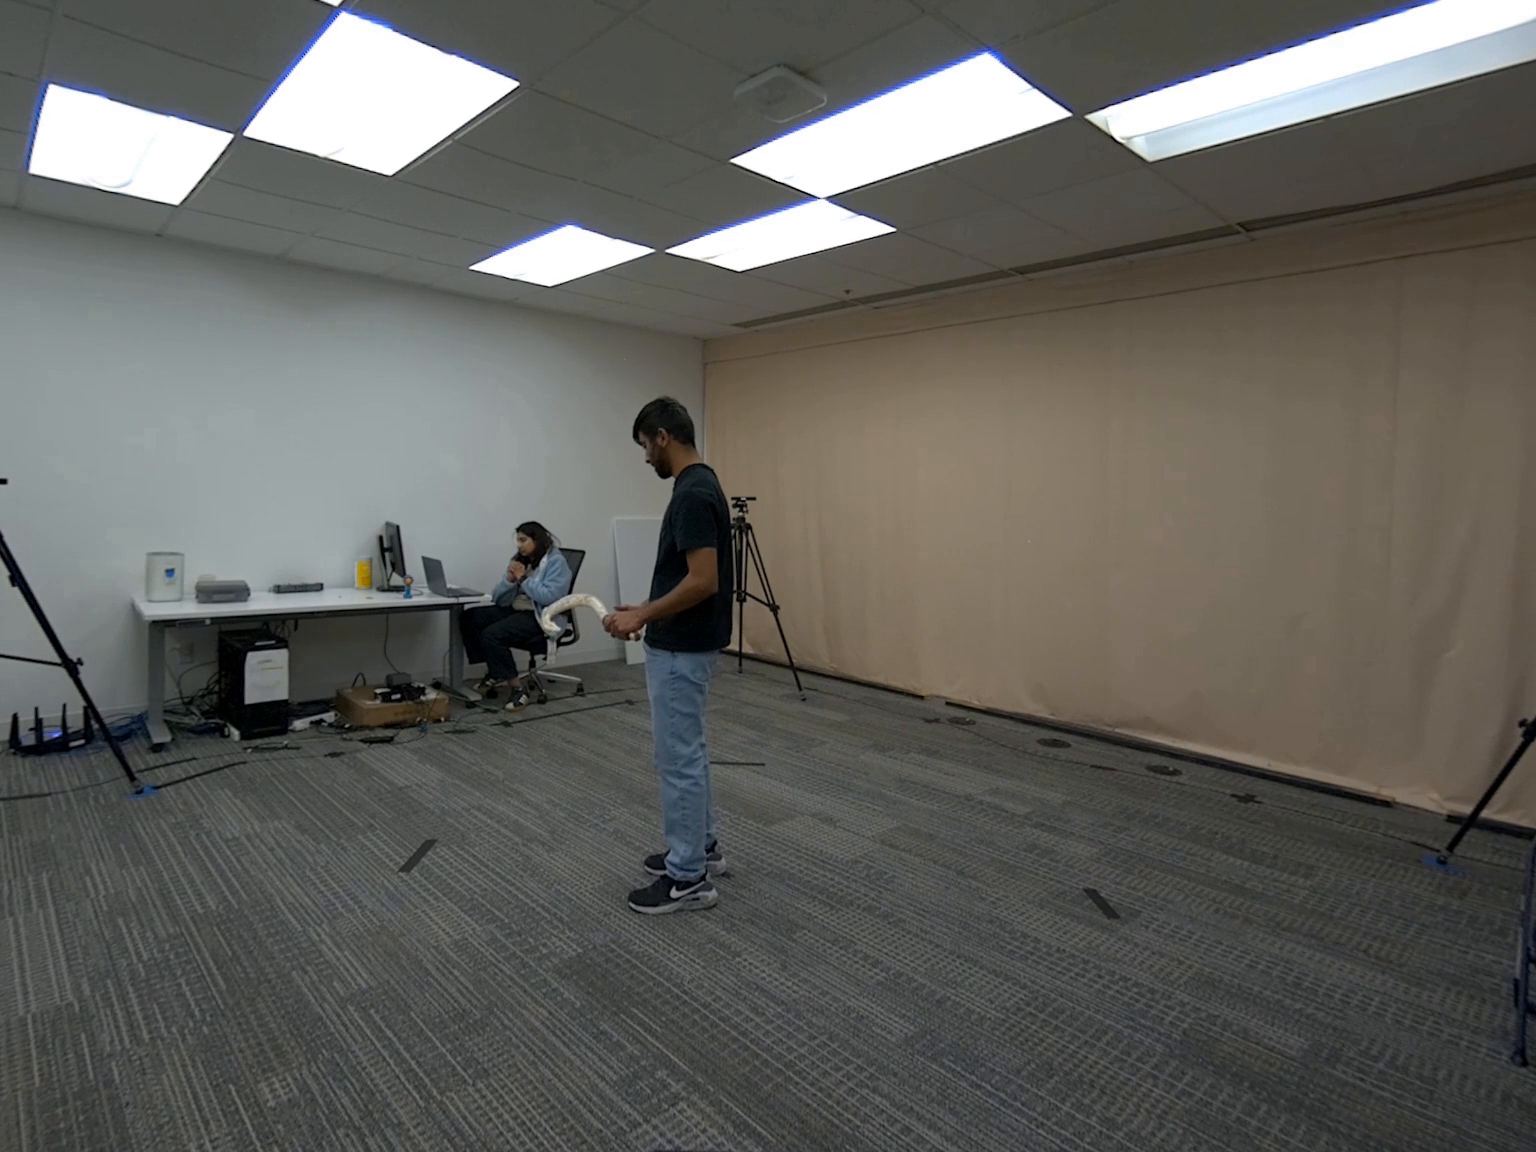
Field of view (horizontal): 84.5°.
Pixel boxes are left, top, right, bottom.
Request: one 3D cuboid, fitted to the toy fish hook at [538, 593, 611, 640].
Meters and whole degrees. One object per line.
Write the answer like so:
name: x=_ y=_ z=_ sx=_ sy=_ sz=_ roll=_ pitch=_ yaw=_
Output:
toy fish hook: x=-0.625 y=0.172 z=2.891 sx=0.223 sy=0.047 sz=0.521 roll=-34 pitch=32 yaw=-27
